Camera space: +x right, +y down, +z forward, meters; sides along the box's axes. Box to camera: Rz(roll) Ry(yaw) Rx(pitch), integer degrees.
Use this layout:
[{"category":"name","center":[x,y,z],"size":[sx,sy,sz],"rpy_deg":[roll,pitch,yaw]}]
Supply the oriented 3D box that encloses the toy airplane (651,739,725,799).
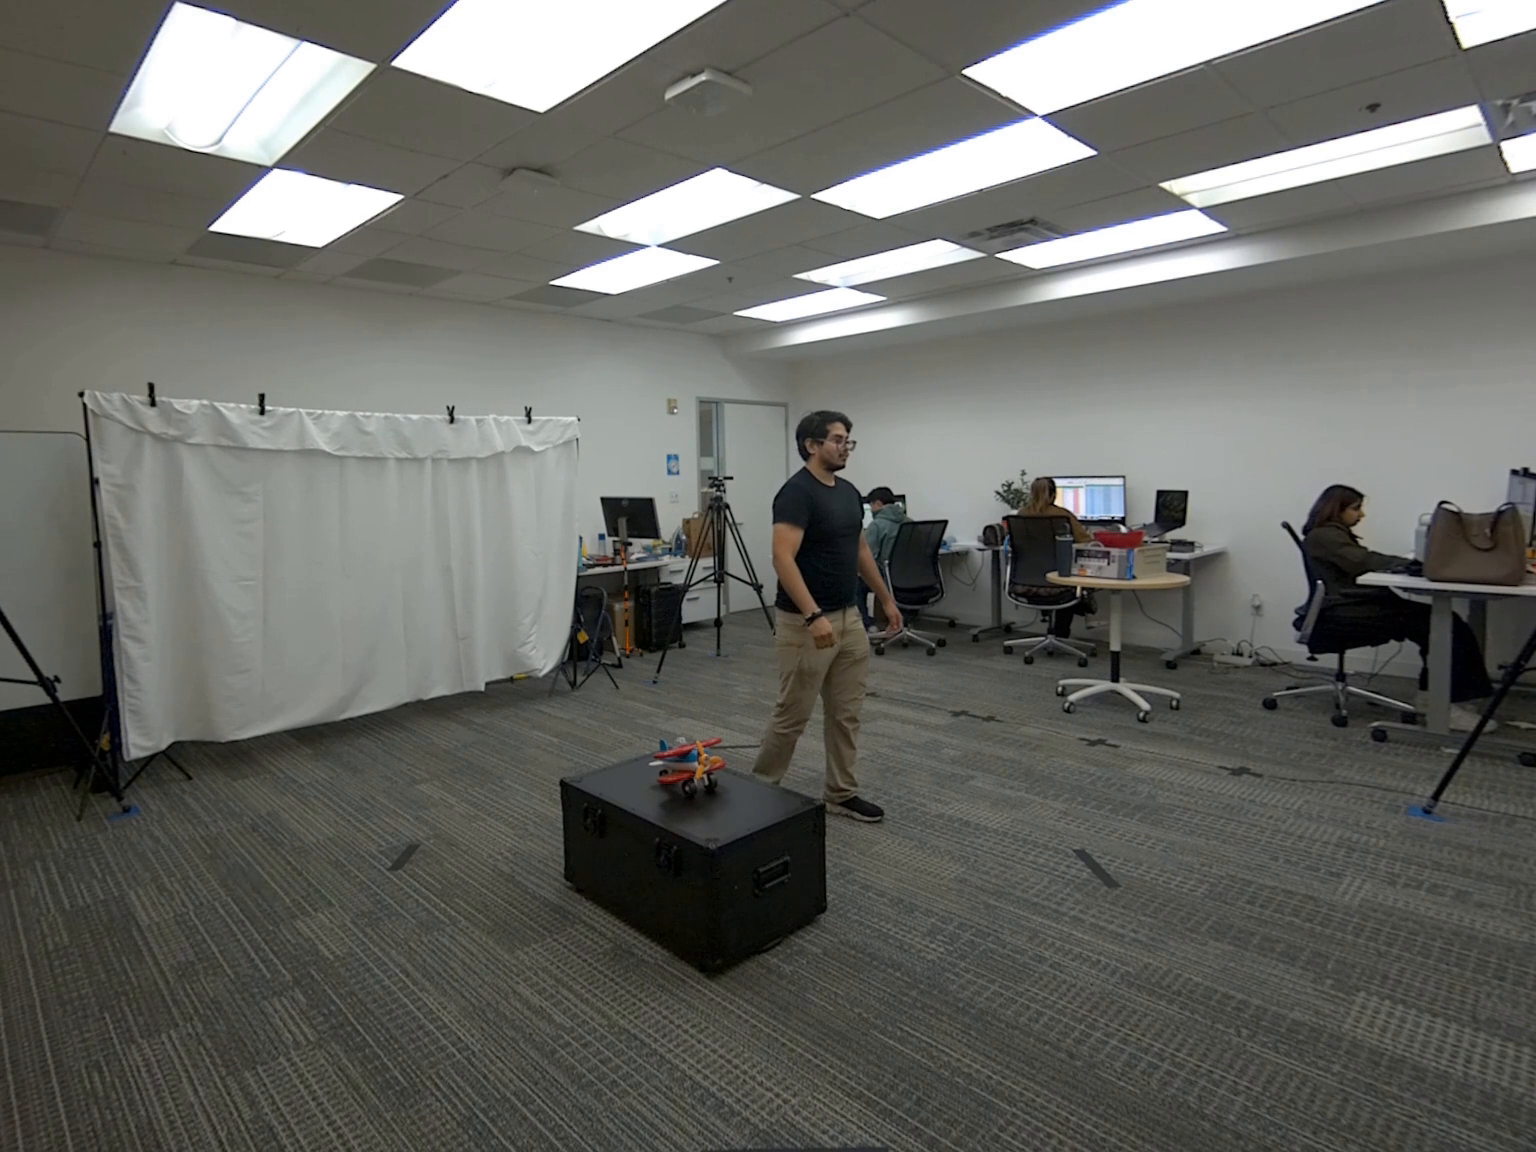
[{"category":"toy airplane","center":[-0.285,0.623,2.828],"size":[0.264,0.155,0.247],"rpy_deg":[2,7,21]}]
